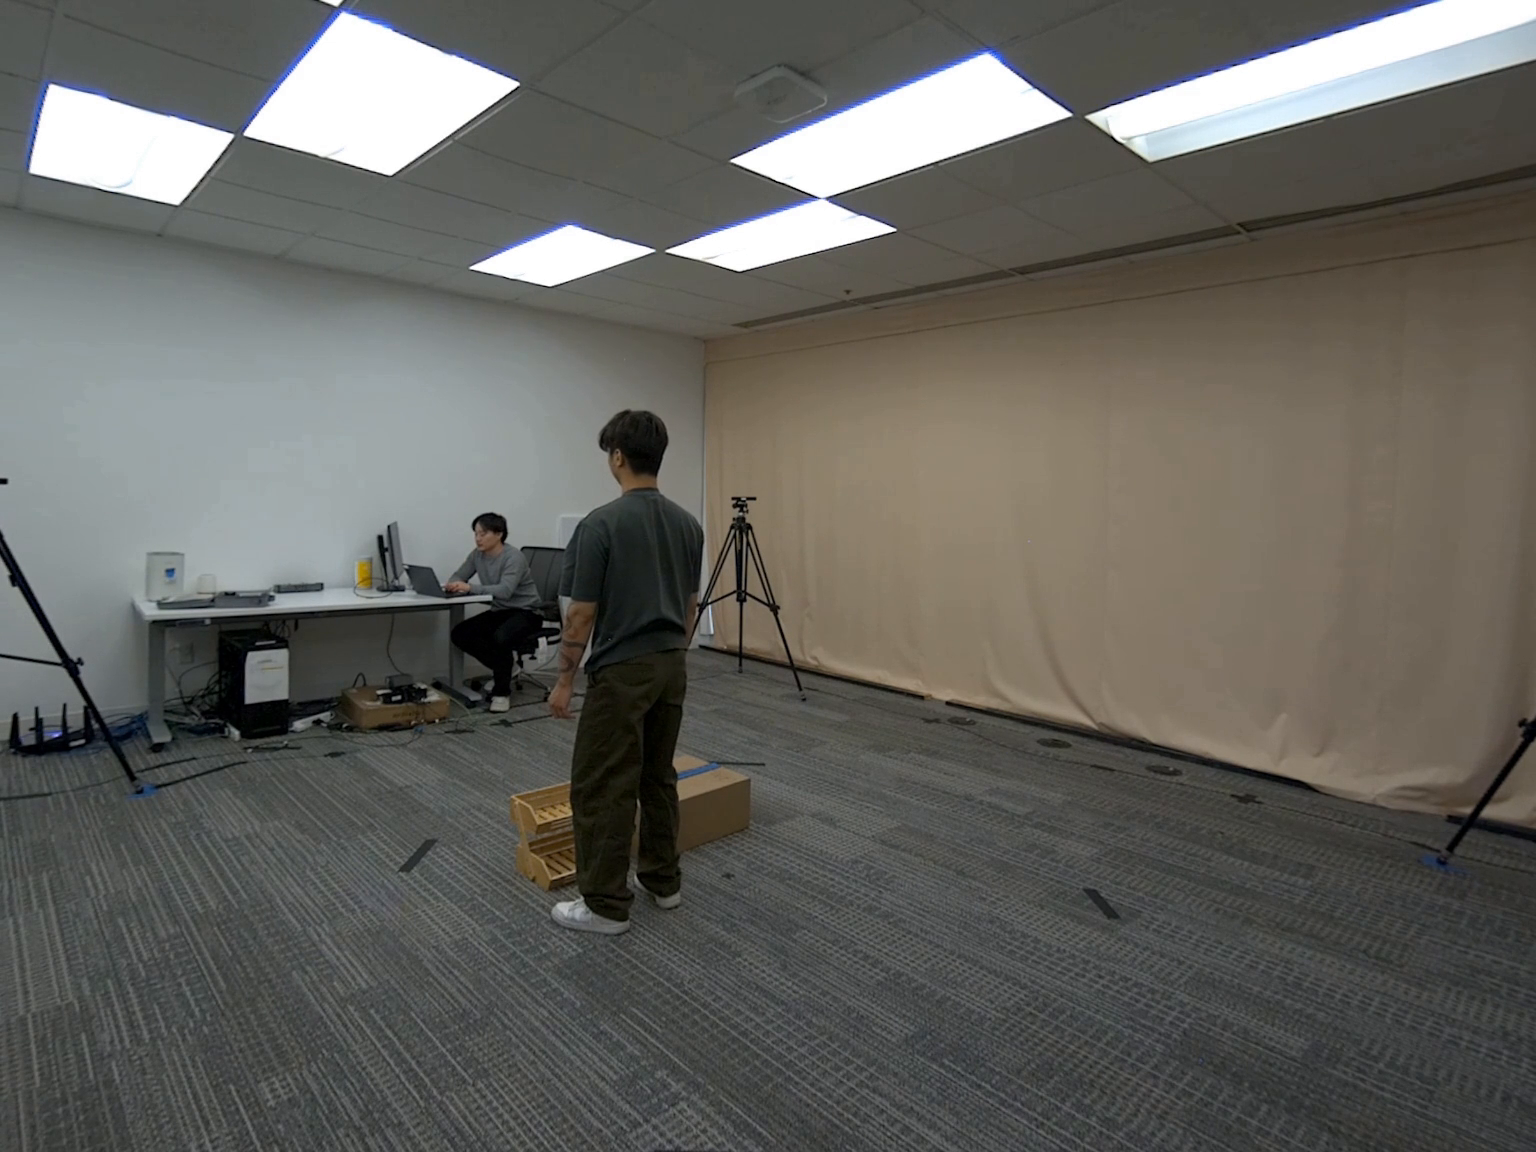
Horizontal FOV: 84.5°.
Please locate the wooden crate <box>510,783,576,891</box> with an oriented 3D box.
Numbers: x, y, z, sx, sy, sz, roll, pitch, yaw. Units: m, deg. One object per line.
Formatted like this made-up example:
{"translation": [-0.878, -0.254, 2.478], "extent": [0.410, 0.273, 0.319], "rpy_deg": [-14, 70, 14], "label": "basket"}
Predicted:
{"translation": [-0.759, 0.953, 3.137], "extent": [0.317, 0.272, 0.310], "rpy_deg": [-4, 6, -43], "label": "wooden crate"}
